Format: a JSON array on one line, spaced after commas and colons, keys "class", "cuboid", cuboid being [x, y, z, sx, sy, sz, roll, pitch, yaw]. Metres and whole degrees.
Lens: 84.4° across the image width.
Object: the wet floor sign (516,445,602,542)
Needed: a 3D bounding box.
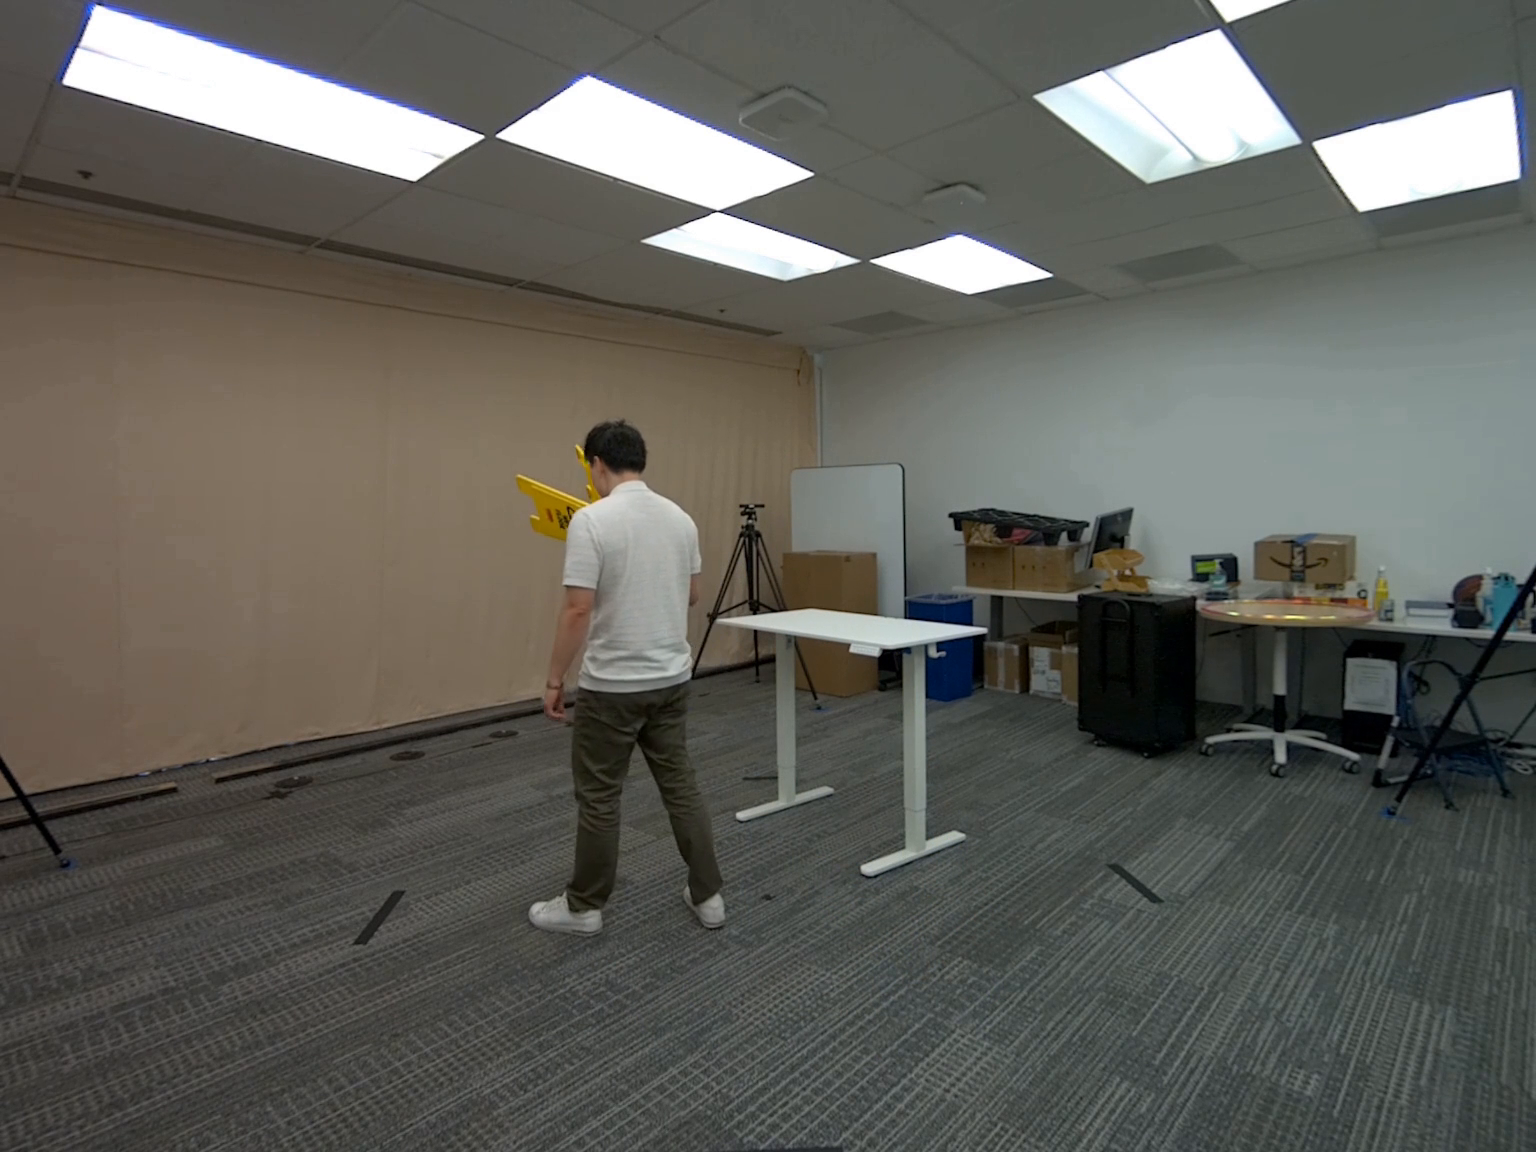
[{"class": "wet floor sign", "cuboid": [-0.675, -0.235, 3.317, 0.286, 0.276, 0.670, -34, 45, -28]}]
